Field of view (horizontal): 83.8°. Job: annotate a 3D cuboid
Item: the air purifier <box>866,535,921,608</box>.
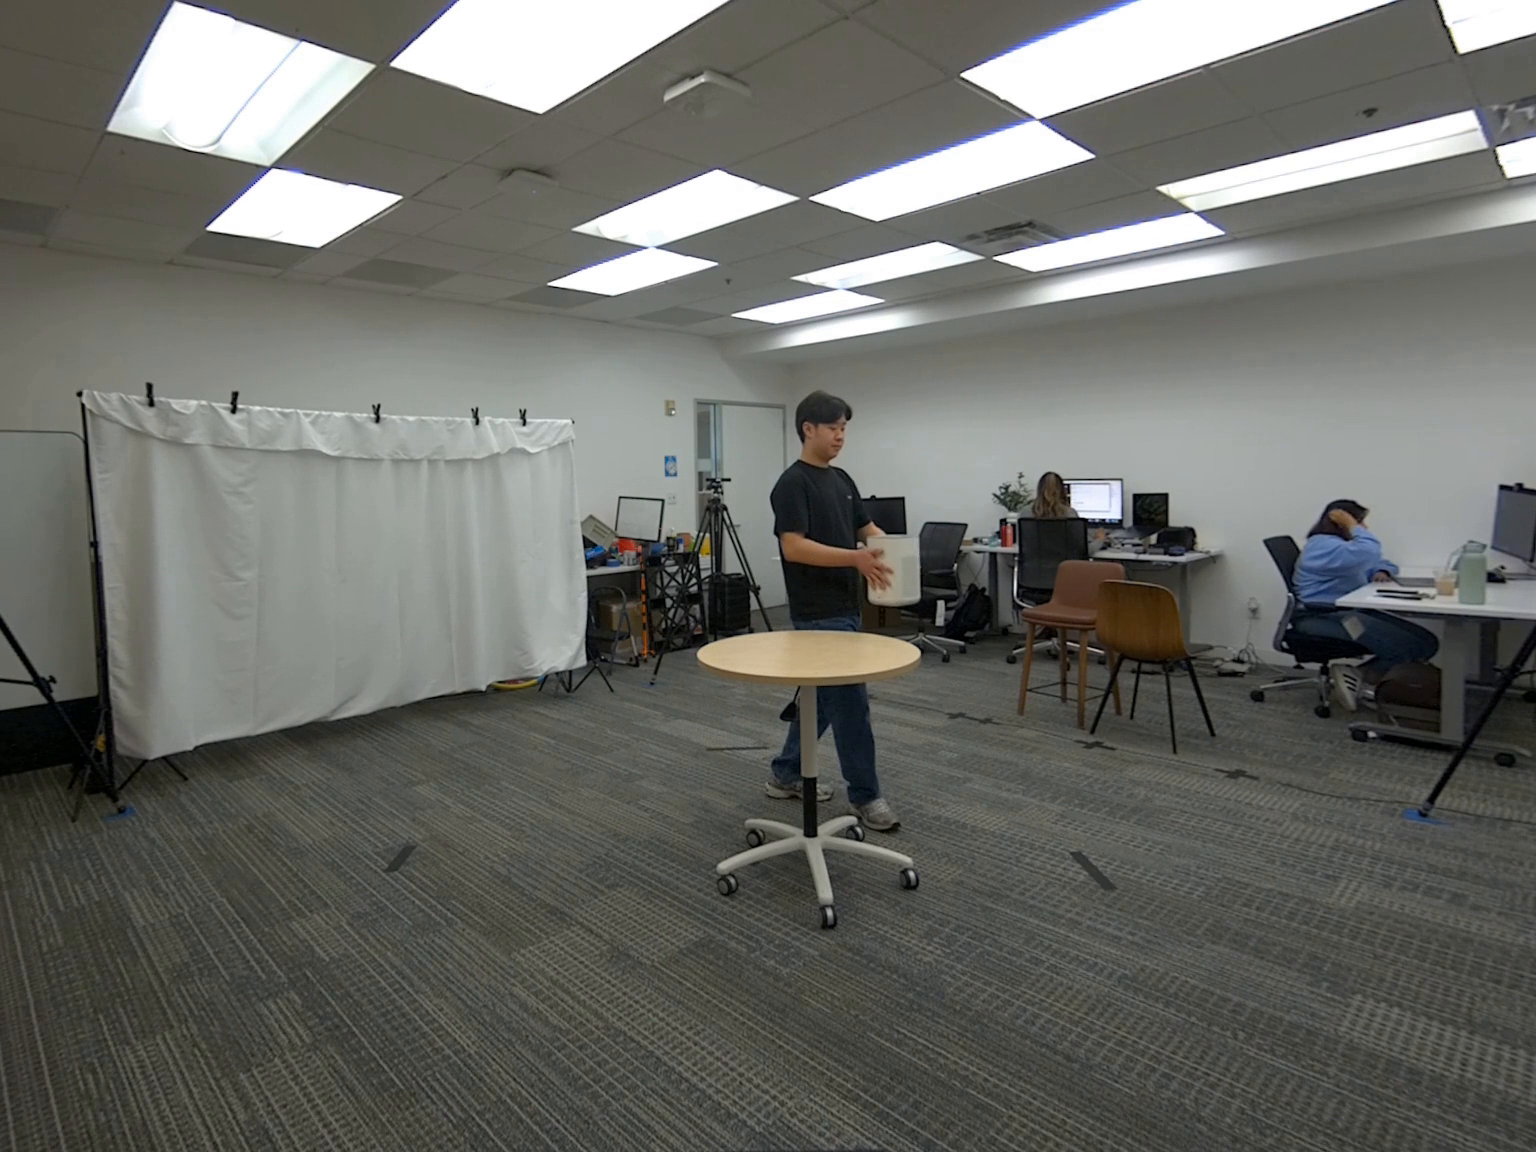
[{"bbox_3d":[0.475,-0.022,3.313,0.167,0.265,0.176,-3,3,-38],"label":"air purifier"}]
